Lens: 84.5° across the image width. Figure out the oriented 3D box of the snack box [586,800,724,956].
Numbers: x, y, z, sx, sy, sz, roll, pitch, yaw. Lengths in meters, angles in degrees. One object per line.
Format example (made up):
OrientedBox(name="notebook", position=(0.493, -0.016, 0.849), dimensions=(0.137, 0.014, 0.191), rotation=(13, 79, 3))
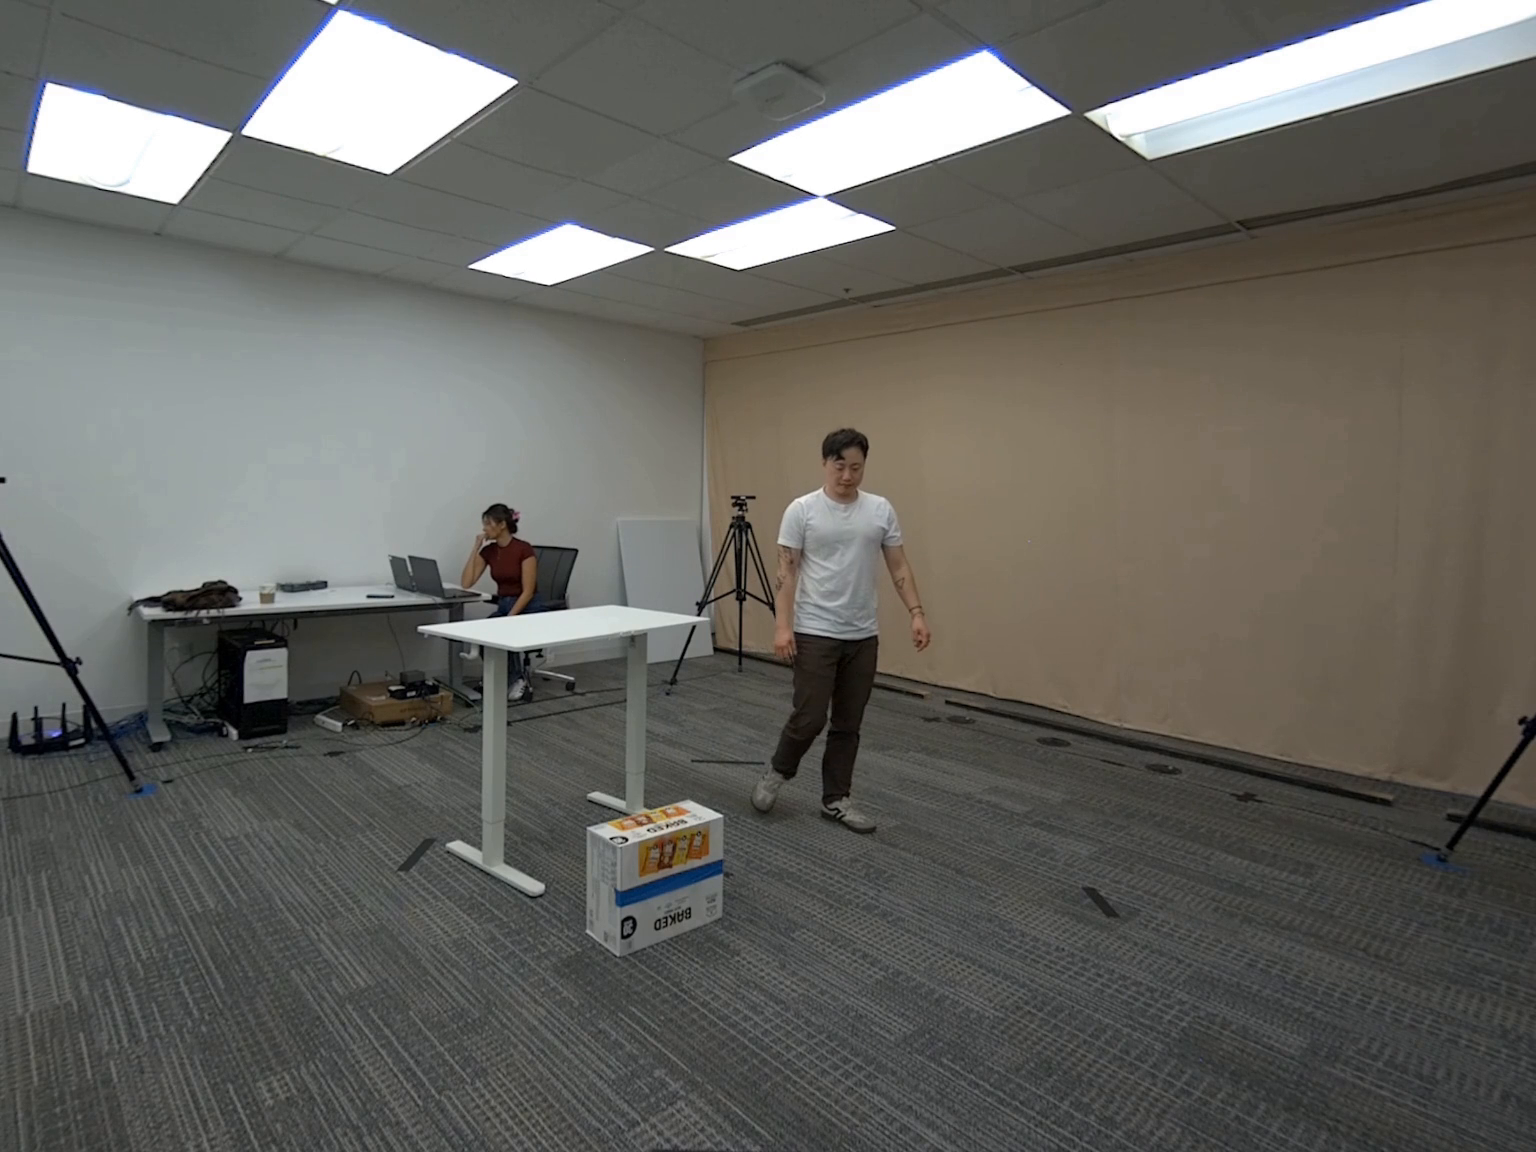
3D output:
OrientedBox(name="snack box", position=(-0.370, 0.965, 2.720), dimensions=(0.396, 0.340, 0.211), rotation=(-2, 3, -41))
